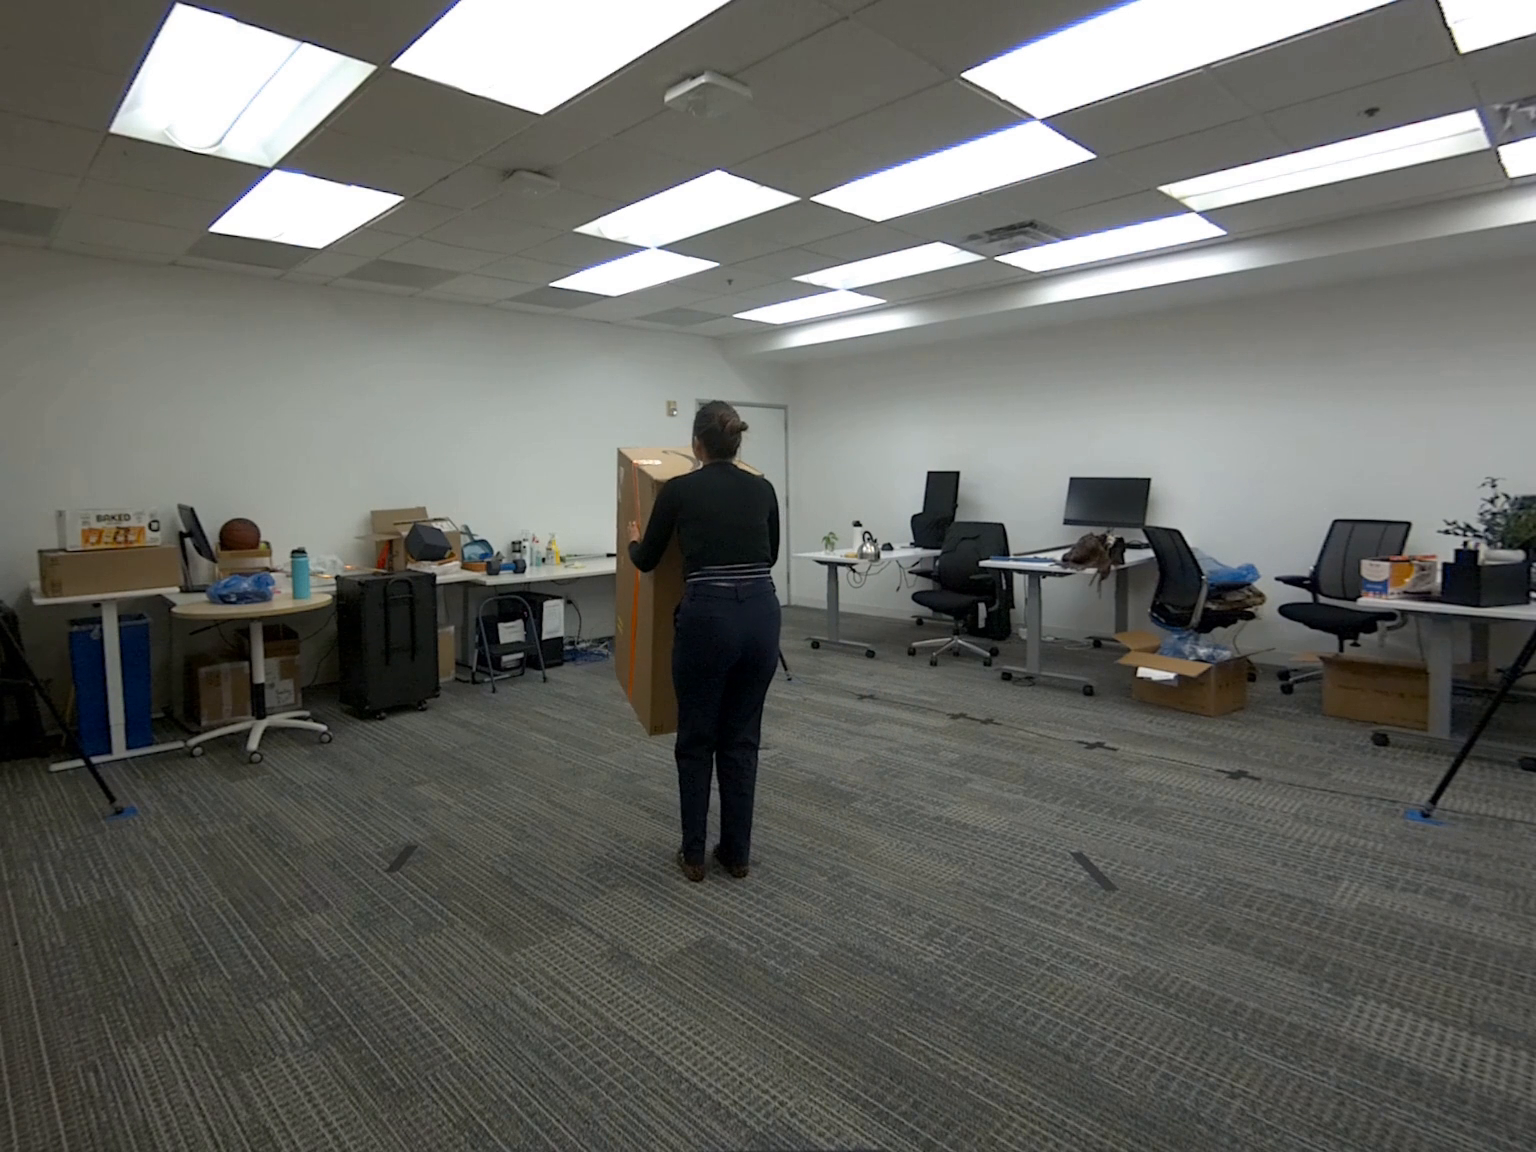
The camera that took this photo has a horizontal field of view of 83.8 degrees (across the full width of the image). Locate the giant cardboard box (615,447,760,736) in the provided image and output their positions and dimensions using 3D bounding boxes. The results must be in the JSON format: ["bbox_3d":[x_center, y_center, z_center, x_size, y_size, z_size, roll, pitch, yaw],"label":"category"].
[{"bbox_3d":[-0.352,0.041,3.474,0.418,1.011,0.596,-4,19,-22],"label":"giant cardboard box"}]
